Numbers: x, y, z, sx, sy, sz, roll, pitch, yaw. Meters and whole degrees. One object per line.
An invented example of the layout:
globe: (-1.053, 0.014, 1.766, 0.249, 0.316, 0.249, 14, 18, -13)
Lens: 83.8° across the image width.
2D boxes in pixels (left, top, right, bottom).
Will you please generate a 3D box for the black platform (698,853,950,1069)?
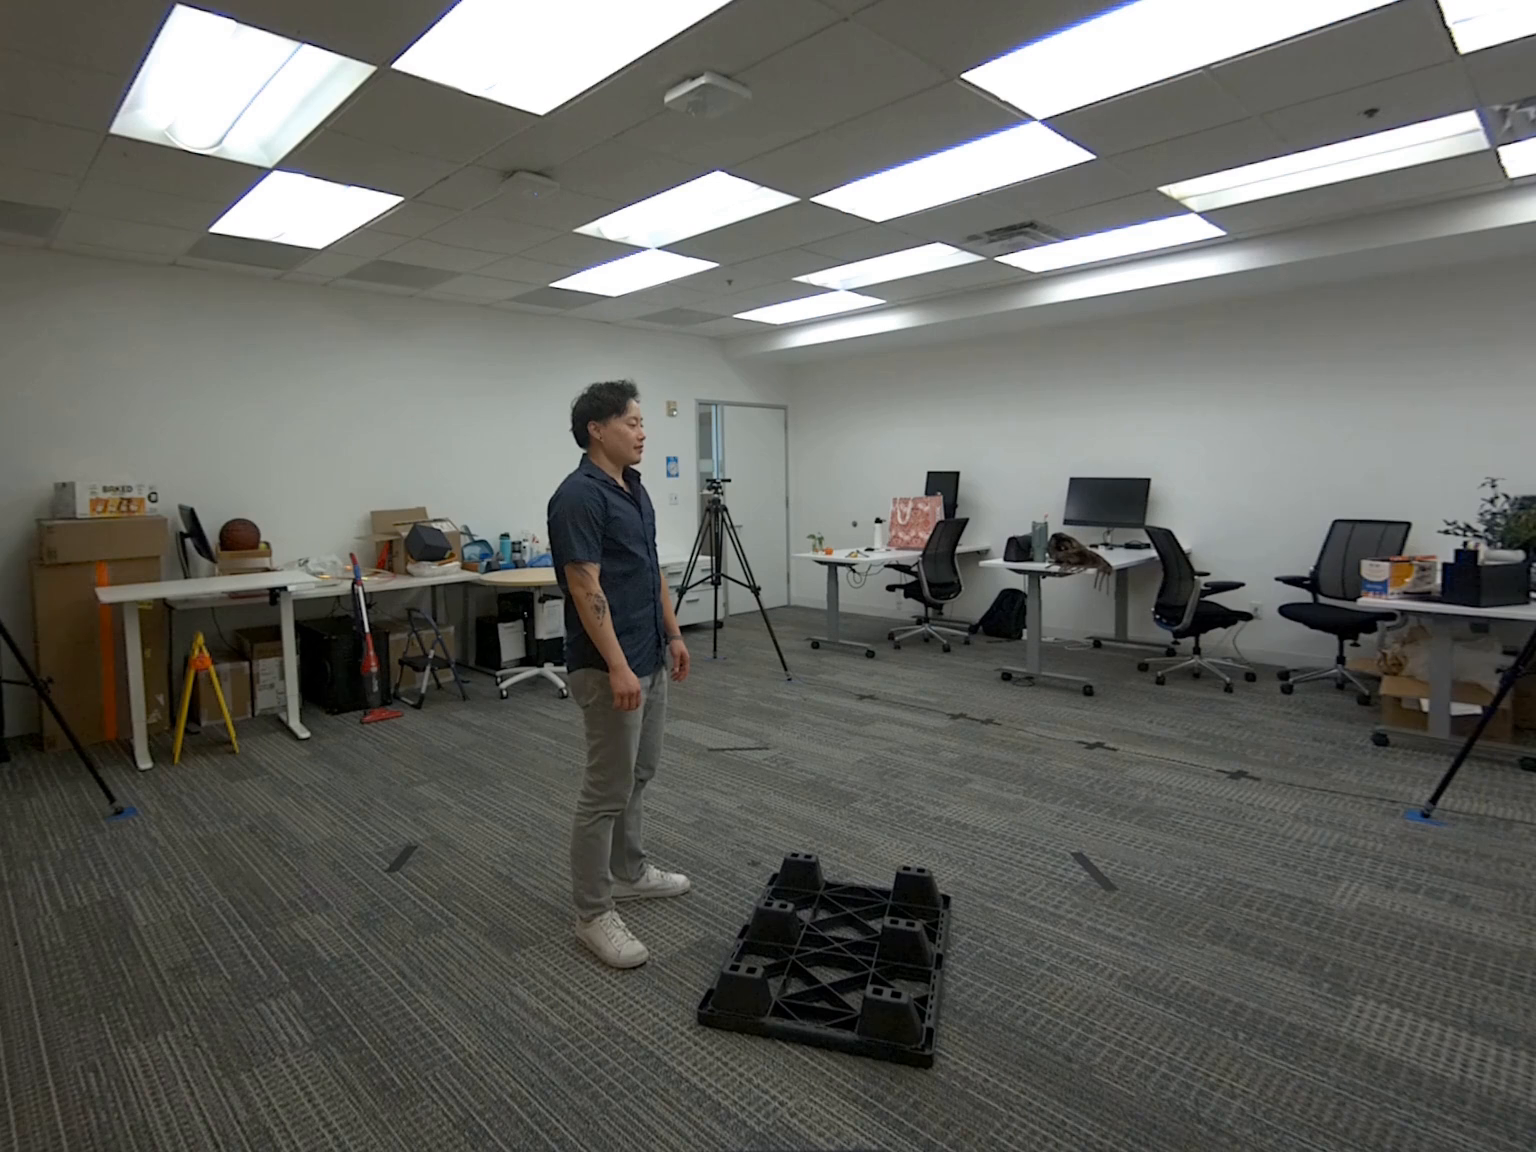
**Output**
black platform: (0.211, 1.049, 2.469, 0.615, 0.142, 0.797, 0, 7, 16)
